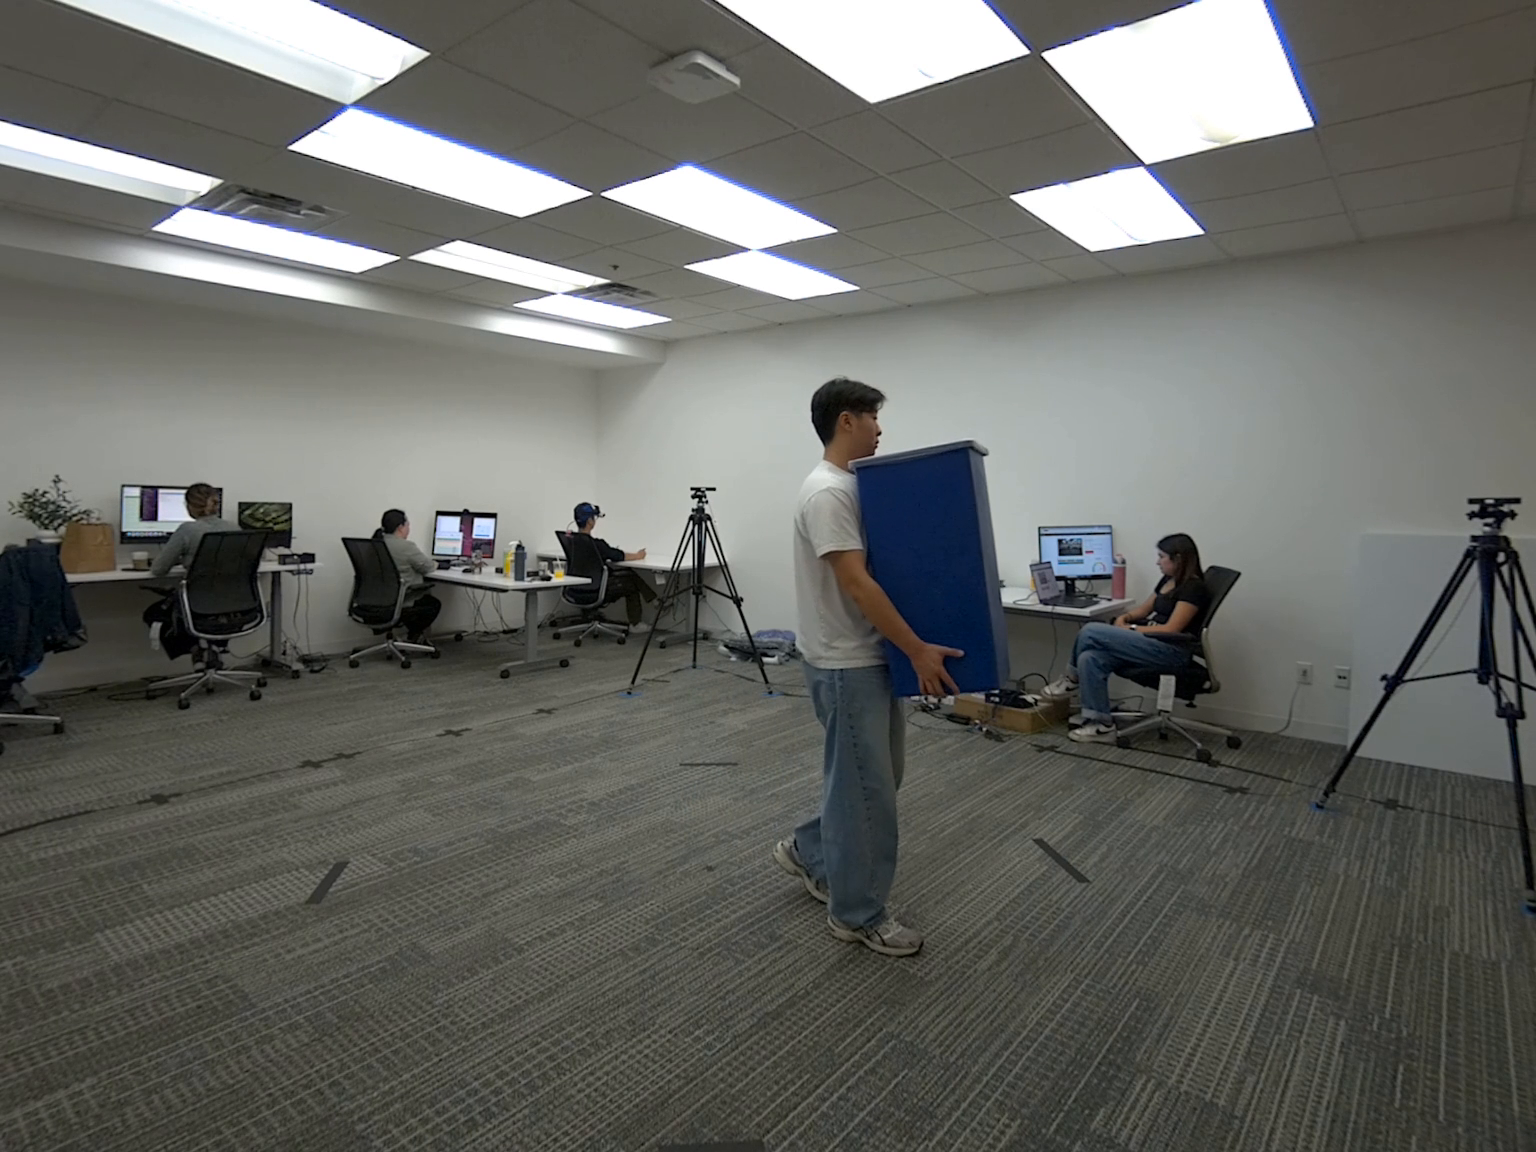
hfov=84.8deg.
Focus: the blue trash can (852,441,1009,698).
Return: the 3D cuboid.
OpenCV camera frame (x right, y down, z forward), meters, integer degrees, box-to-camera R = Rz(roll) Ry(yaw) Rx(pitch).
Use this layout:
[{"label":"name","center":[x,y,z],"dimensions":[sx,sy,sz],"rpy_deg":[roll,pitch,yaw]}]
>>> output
[{"label":"blue trash can","center":[0.513,-0.024,2.589],"dimensions":[0.385,0.717,0.365],"rpy_deg":[-10,-4,22]}]
